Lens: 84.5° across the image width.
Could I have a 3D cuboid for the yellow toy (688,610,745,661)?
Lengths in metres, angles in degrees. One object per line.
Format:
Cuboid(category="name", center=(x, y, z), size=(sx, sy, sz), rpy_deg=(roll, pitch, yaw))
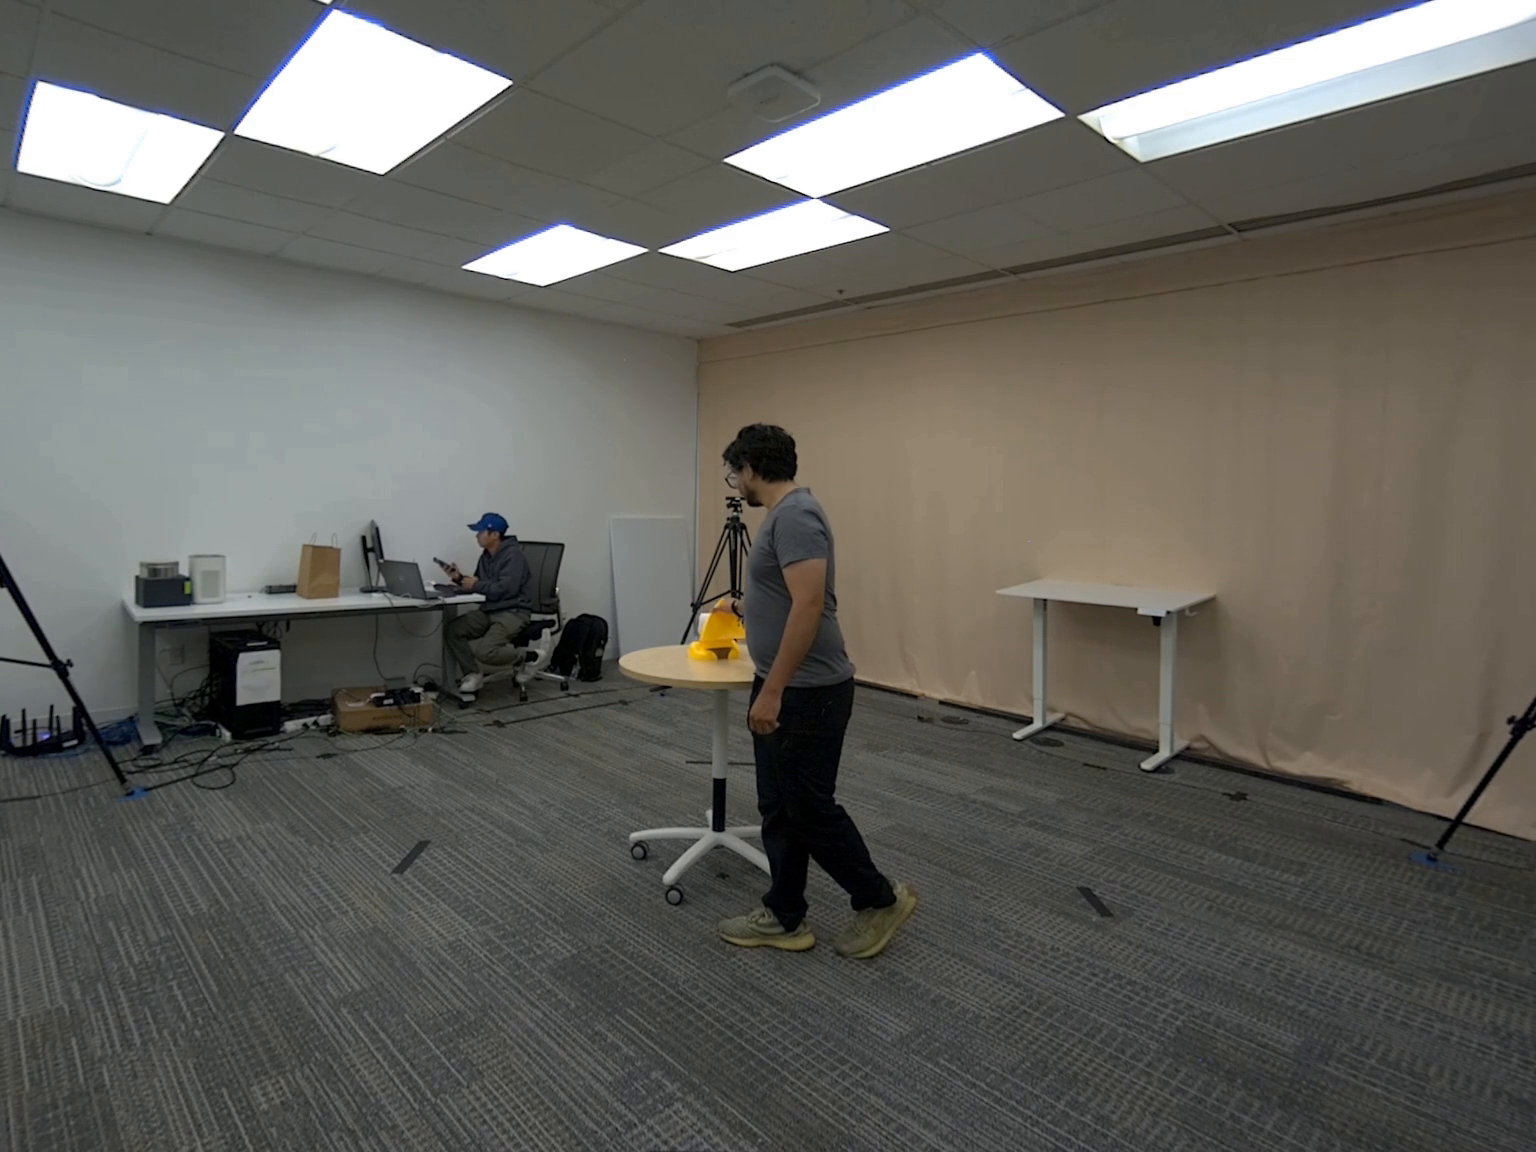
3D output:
Cuboid(category="yellow toy", center=(-0.210, 0.198, 3.235), size=(0.201, 0.230, 0.197), rpy_deg=(-1, 4, -29))
